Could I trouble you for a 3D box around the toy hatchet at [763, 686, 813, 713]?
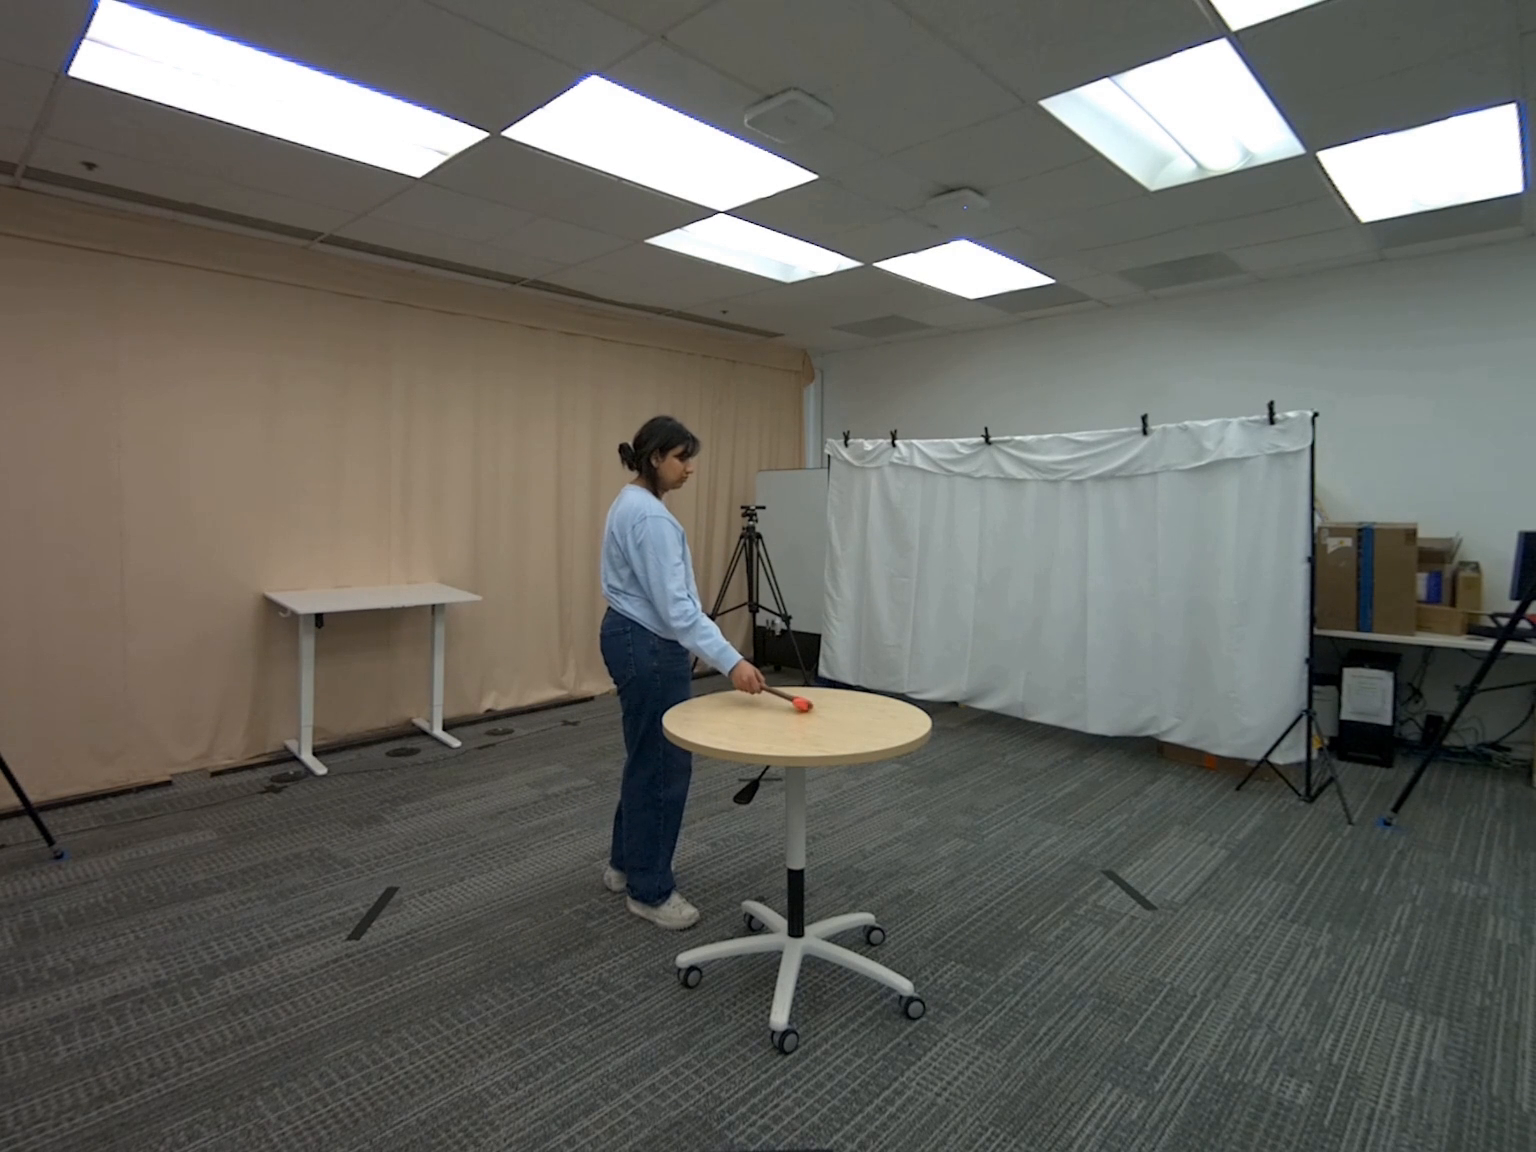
[{"bbox_3d":[0.034,0.356,2.550,0.280,0.029,0.126,12,-8,46],"label":"toy hatchet"}]
